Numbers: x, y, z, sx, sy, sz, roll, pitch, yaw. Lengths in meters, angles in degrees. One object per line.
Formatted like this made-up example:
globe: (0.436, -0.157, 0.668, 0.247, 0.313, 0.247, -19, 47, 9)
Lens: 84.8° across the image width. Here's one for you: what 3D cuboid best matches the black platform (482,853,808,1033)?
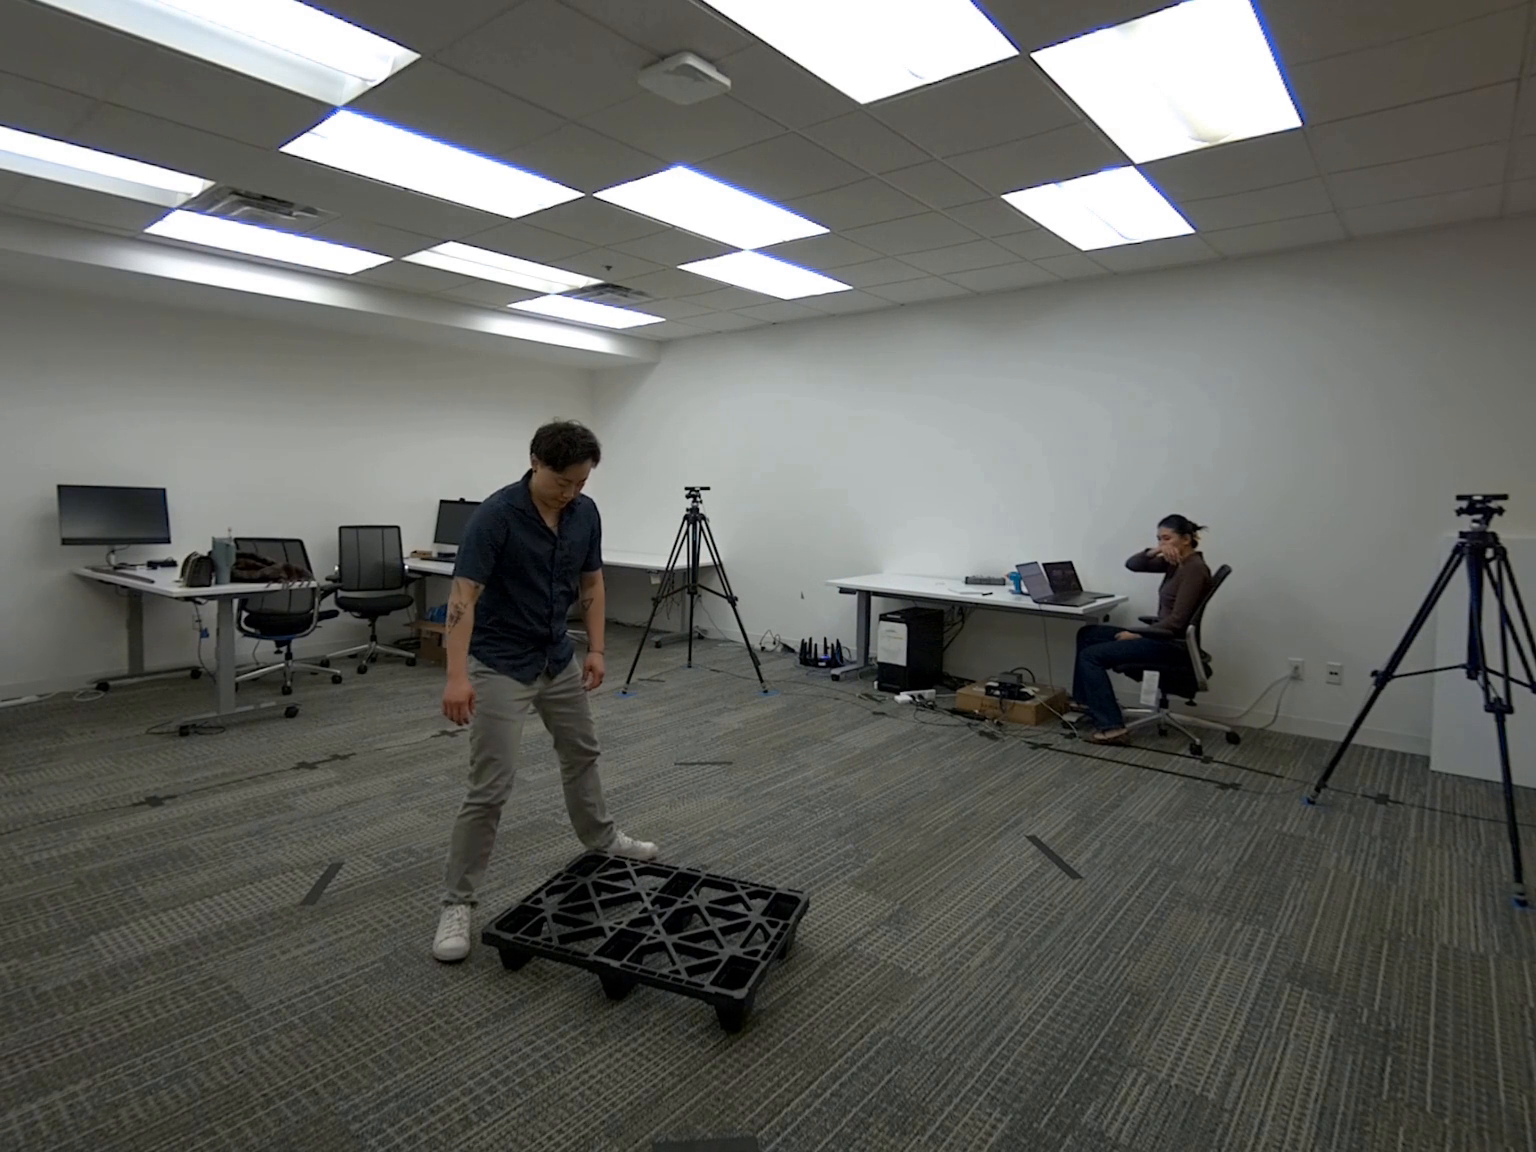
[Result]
black platform: (-0.351, 1.052, 2.525, 0.824, 0.143, 0.594, 3, 6, 21)
